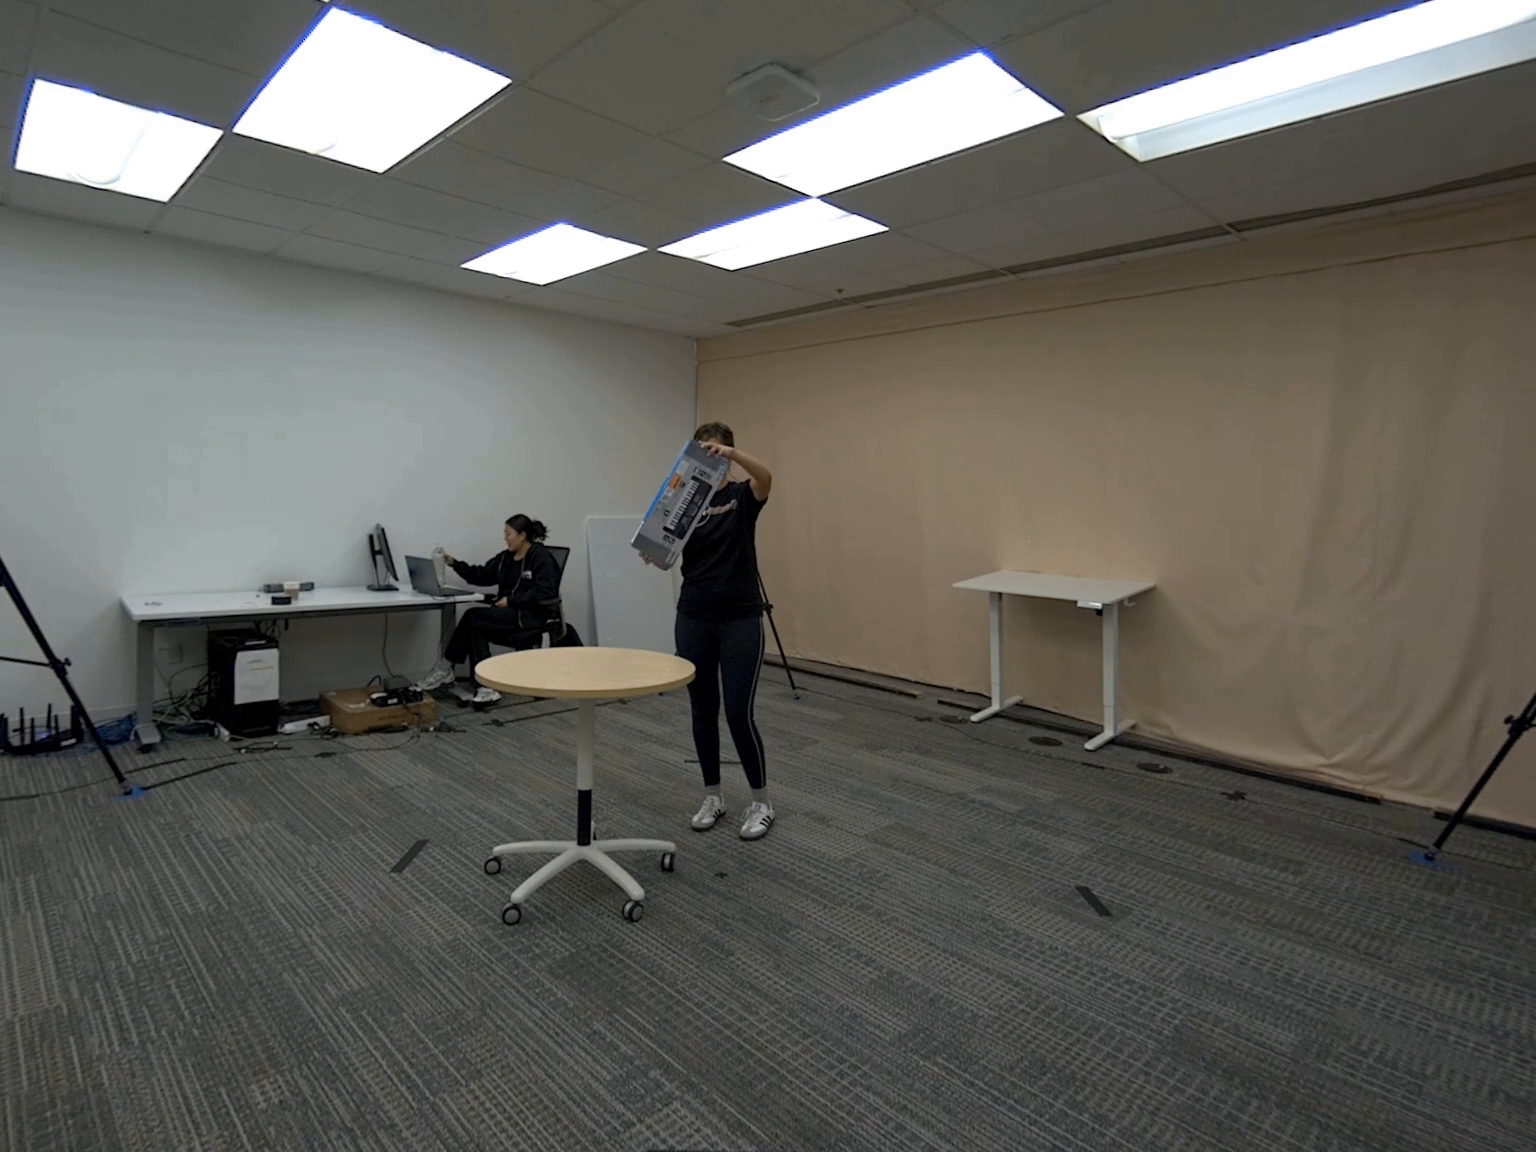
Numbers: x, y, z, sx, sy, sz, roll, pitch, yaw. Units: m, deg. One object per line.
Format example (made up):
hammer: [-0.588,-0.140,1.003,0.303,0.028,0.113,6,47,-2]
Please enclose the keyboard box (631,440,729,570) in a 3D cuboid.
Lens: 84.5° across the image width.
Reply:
keyboard box: [-0.327,-0.266,3.040,0.173,0.436,0.060,28,4,-17]
